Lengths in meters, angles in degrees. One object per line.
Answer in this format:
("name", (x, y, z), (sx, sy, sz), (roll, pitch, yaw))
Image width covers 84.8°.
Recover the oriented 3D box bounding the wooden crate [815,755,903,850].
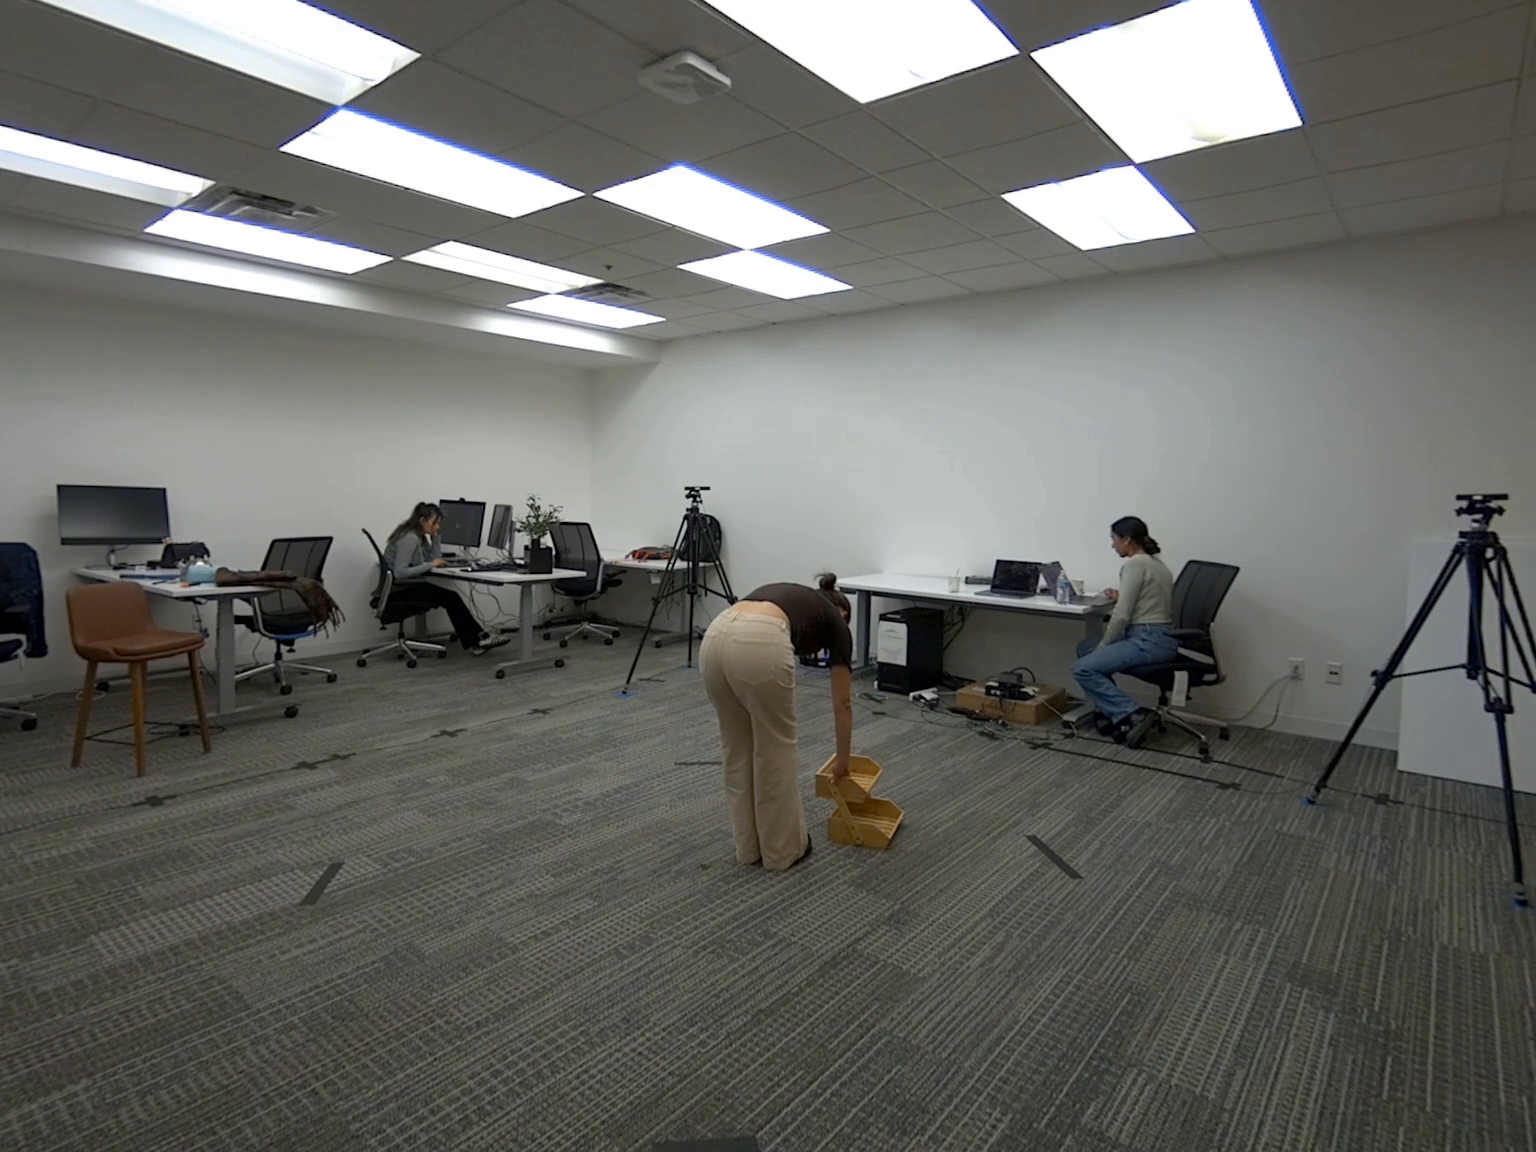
("wooden crate", (0.374, 0.904, 3.475), (0.309, 0.272, 0.318), (1, 5, 21))
